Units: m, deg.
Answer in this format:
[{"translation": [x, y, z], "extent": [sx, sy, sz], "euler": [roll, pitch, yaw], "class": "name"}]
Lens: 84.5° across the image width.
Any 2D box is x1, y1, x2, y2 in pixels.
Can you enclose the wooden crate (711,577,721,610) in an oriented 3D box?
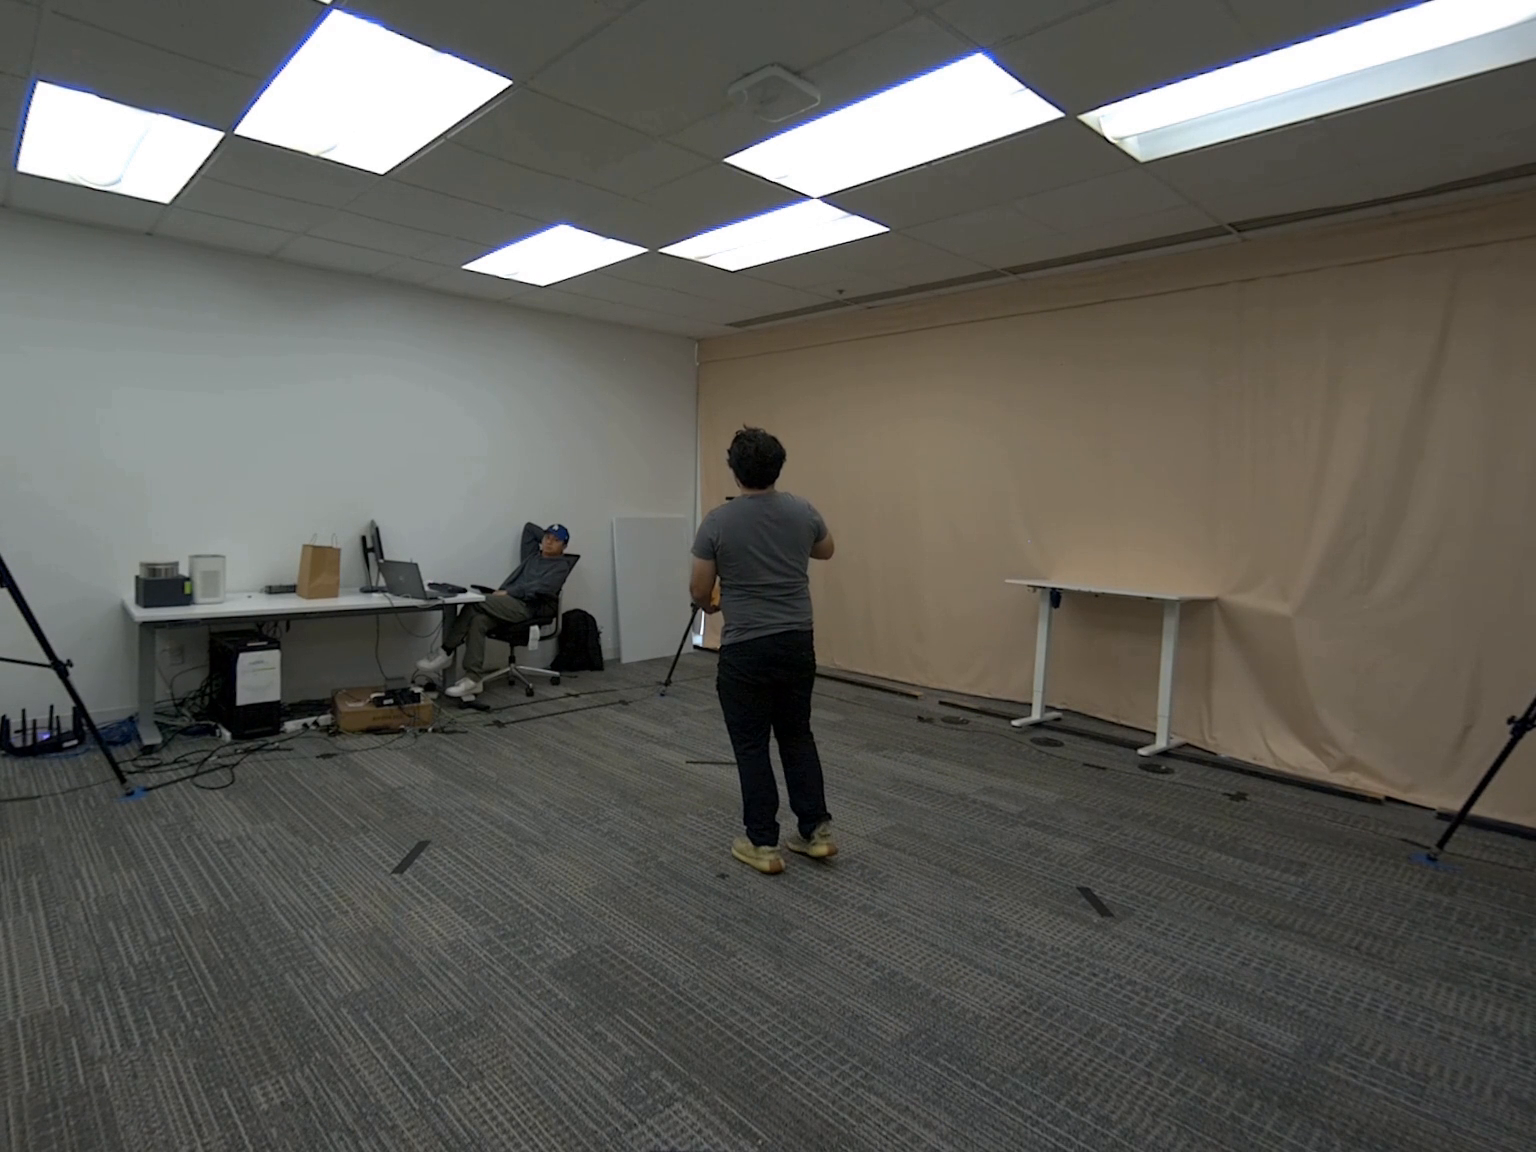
[{"translation": [-0.116, -0.011, 3.585], "extent": [0.268, 0.325, 0.308], "euler": [11, -1, -24], "class": "wooden crate"}]
